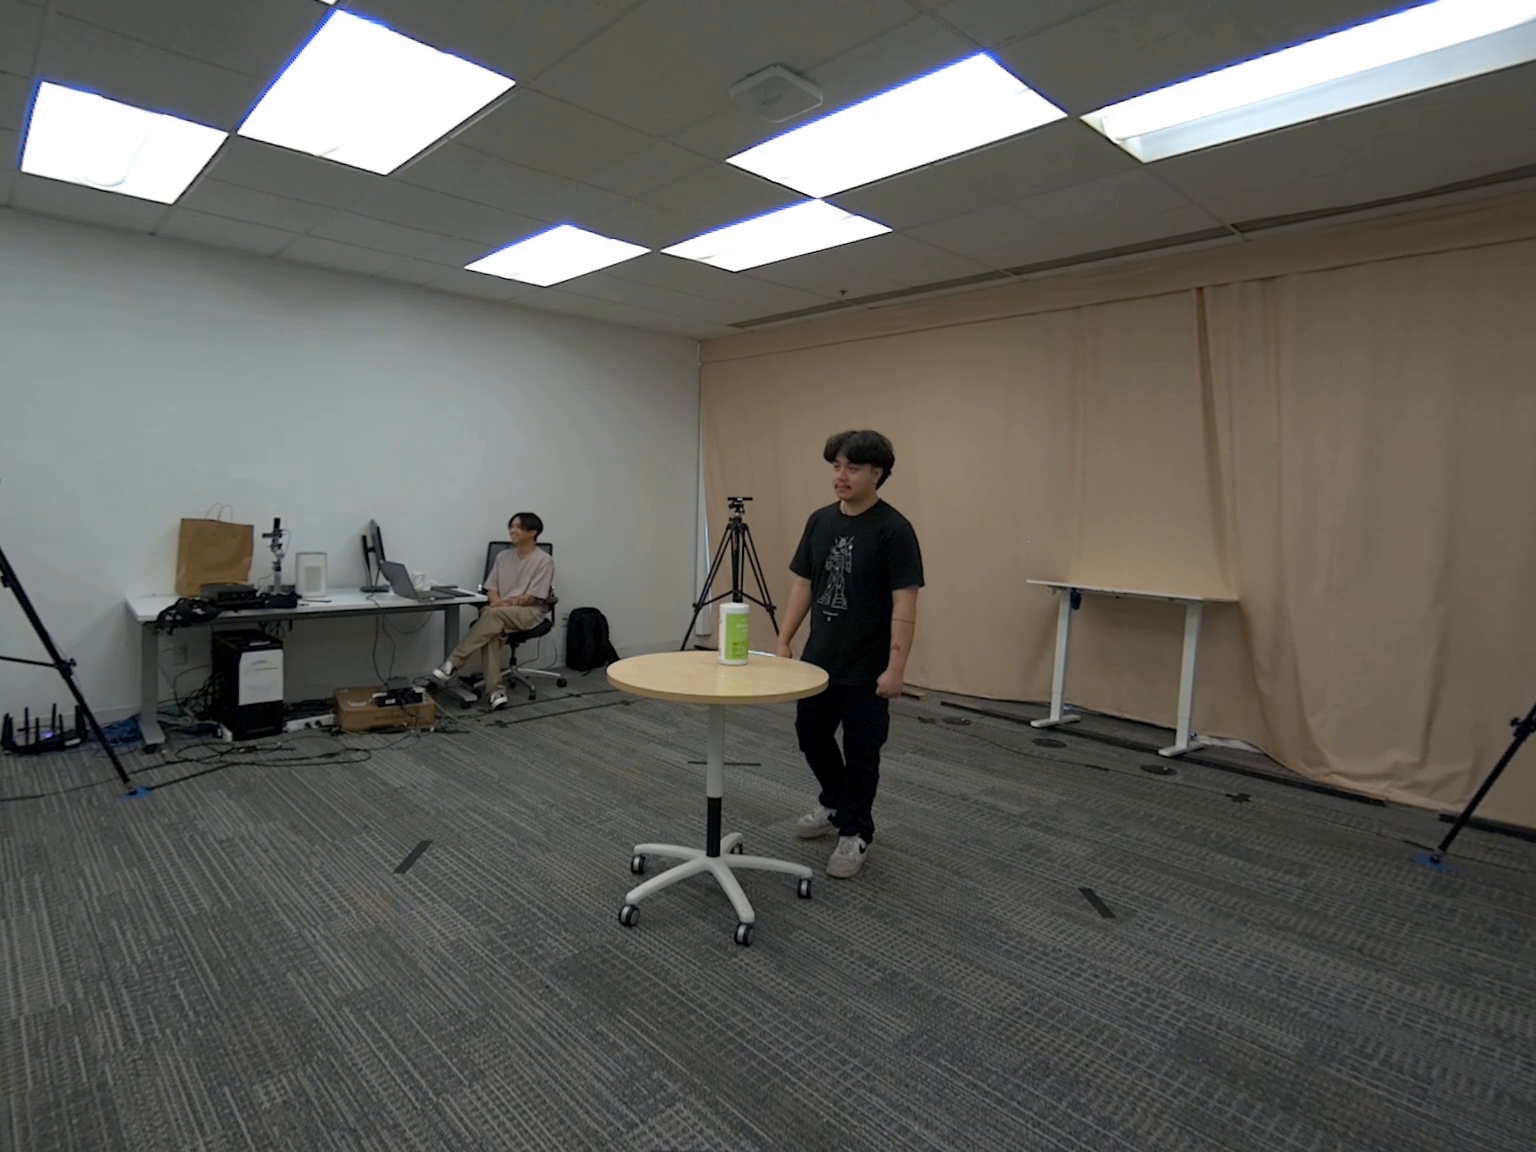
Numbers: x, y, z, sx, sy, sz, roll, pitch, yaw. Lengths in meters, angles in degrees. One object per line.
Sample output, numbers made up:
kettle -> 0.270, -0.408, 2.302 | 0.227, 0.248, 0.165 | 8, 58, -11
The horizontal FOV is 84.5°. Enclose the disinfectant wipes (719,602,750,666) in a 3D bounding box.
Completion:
disinfectant wipes -> -0.138, 0.214, 3.064 | 0.118, 0.217, 0.118 | 3, 3, -2
